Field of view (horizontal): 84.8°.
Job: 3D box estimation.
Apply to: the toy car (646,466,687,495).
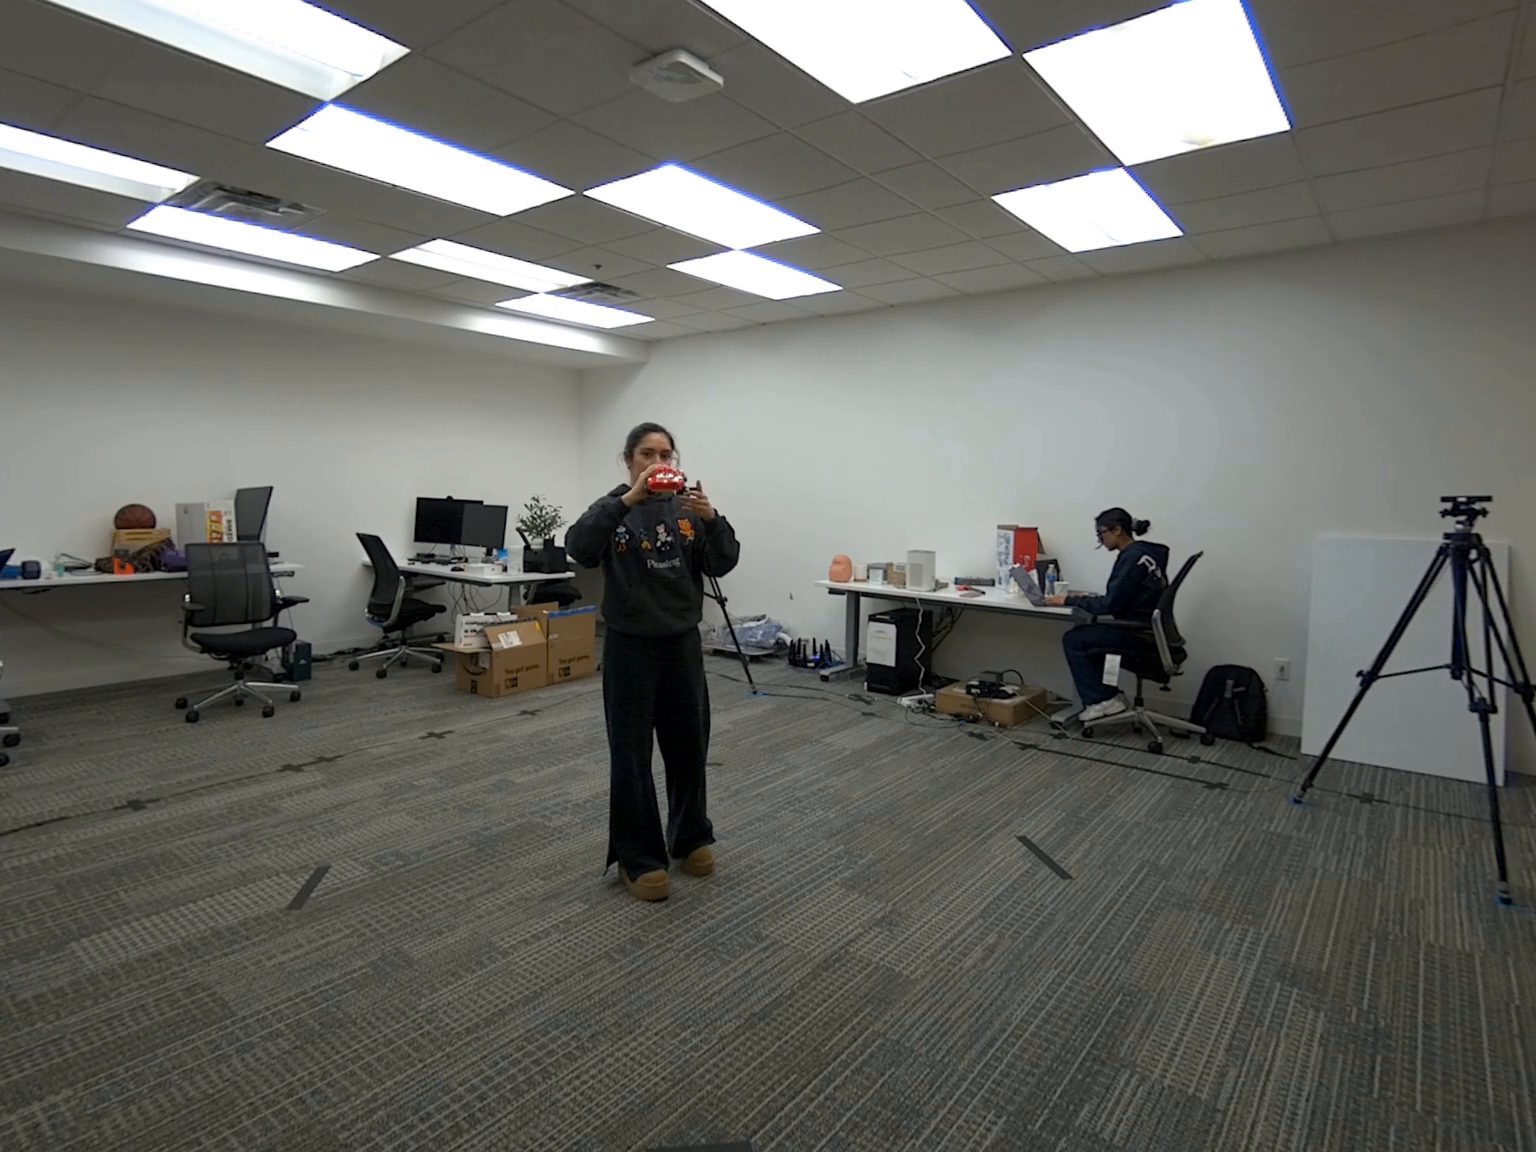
[{"bbox_3d":[-0.325,-0.295,2.674,0.130,0.083,0.256,0,7,-2],"label":"toy car"}]
